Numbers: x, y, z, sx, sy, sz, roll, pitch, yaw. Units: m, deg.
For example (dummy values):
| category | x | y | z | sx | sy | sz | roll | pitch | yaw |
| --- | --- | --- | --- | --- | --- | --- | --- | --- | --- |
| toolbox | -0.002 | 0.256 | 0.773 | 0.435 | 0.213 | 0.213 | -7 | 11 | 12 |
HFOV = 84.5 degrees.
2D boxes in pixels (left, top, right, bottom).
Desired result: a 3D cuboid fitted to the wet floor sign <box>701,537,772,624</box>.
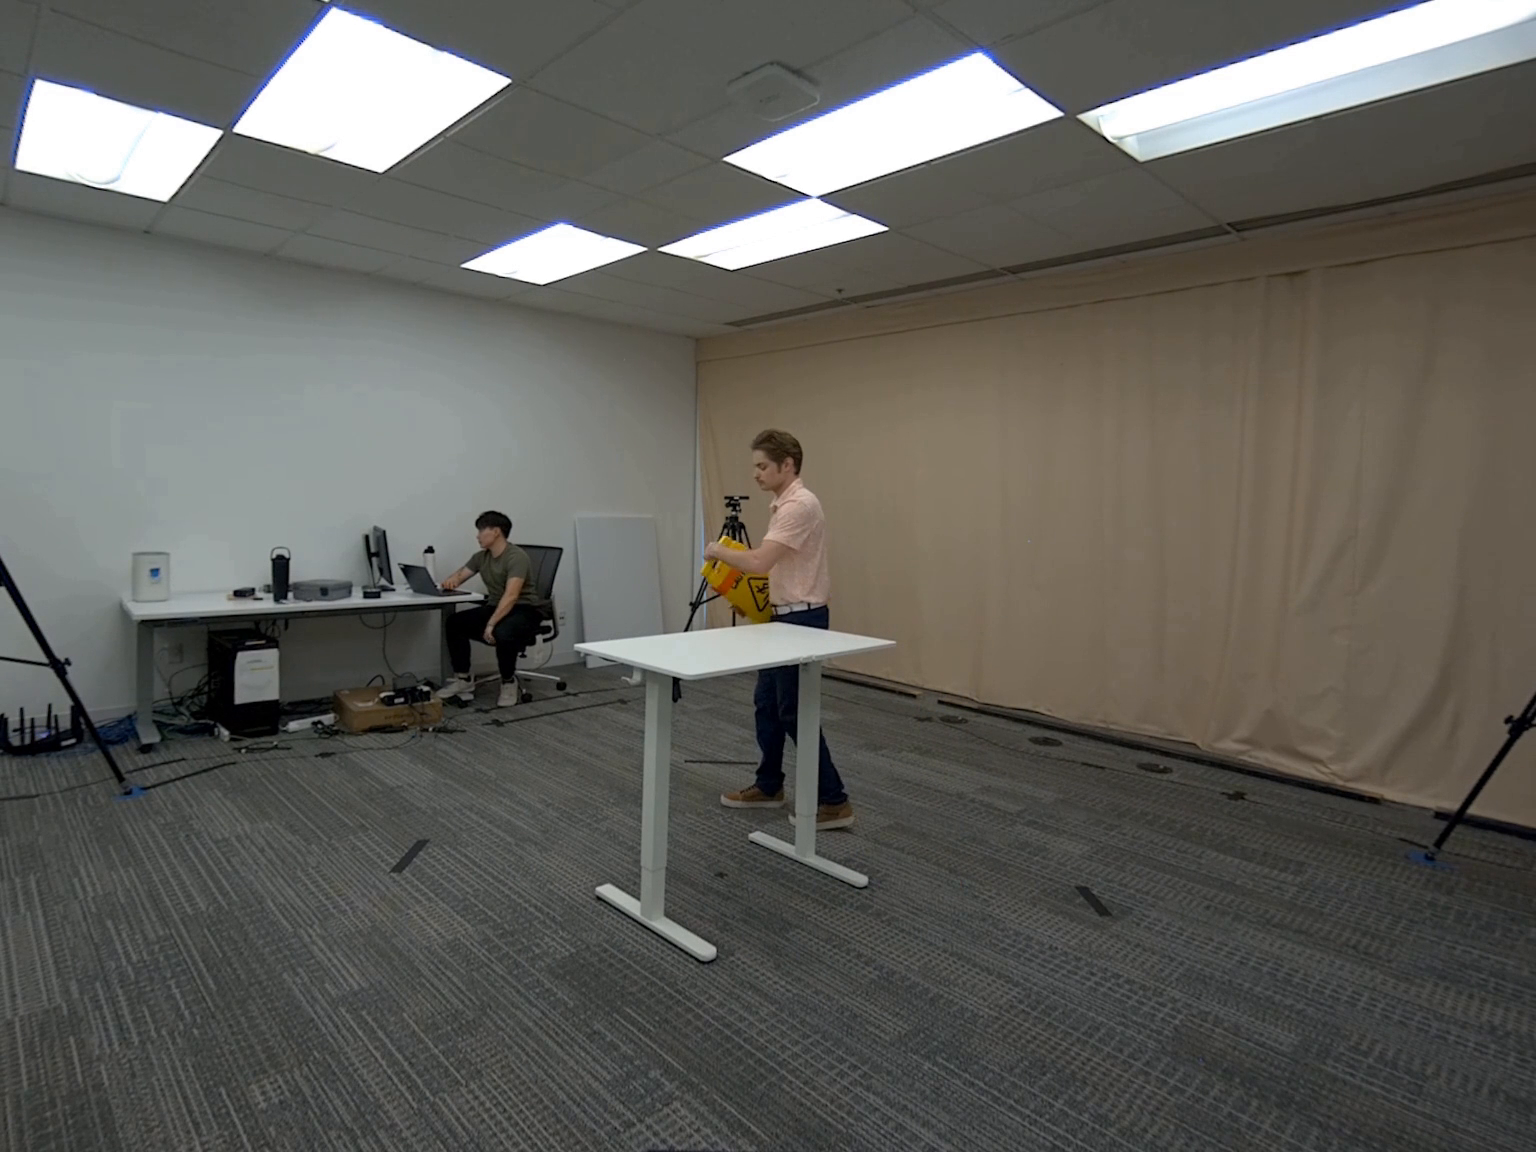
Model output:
| category | x | y | z | sx | sy | sz | roll | pitch | yaw |
| --- | --- | --- | --- | --- | --- | --- | --- | --- | --- |
| wet floor sign | -0.068 | 0.052 | 3.837 | 0.625 | 0.282 | 0.299 | 39 | -5 | -41 |
